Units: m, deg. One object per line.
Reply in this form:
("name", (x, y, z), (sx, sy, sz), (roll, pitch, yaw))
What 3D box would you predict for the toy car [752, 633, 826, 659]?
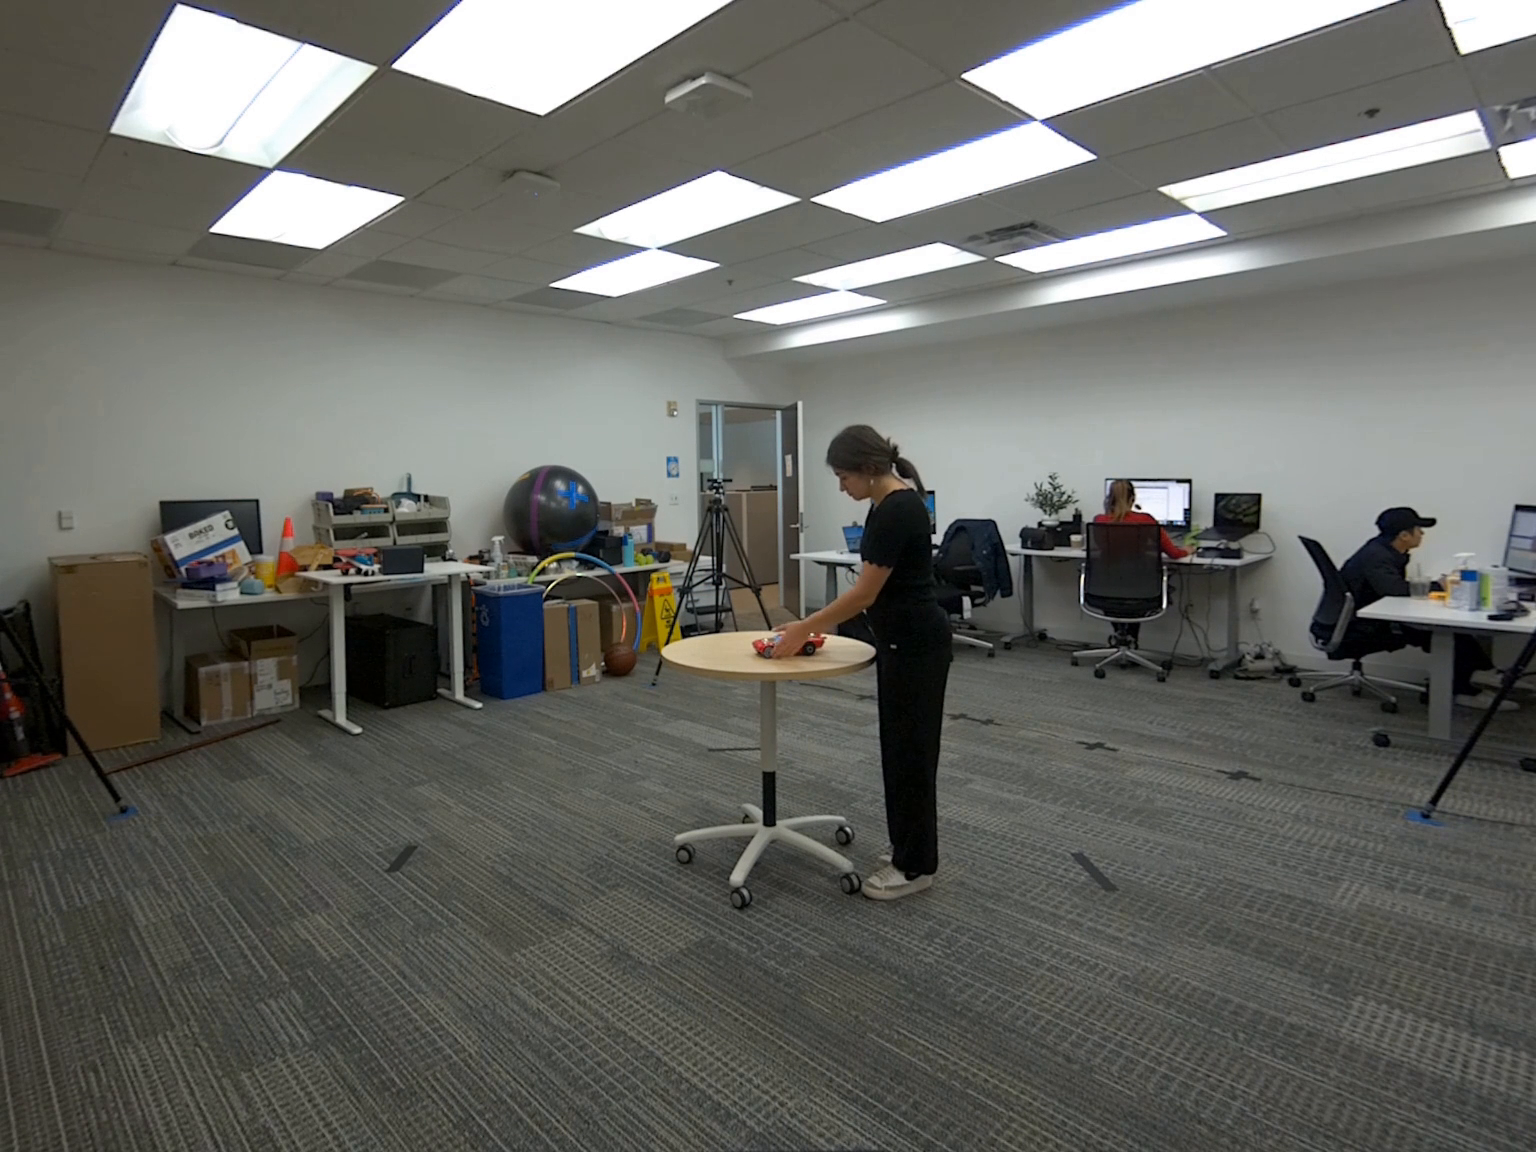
("toy car", (0.079, 0.239, 2.981), (0.252, 0.082, 0.132), (-14, 9, -12))
